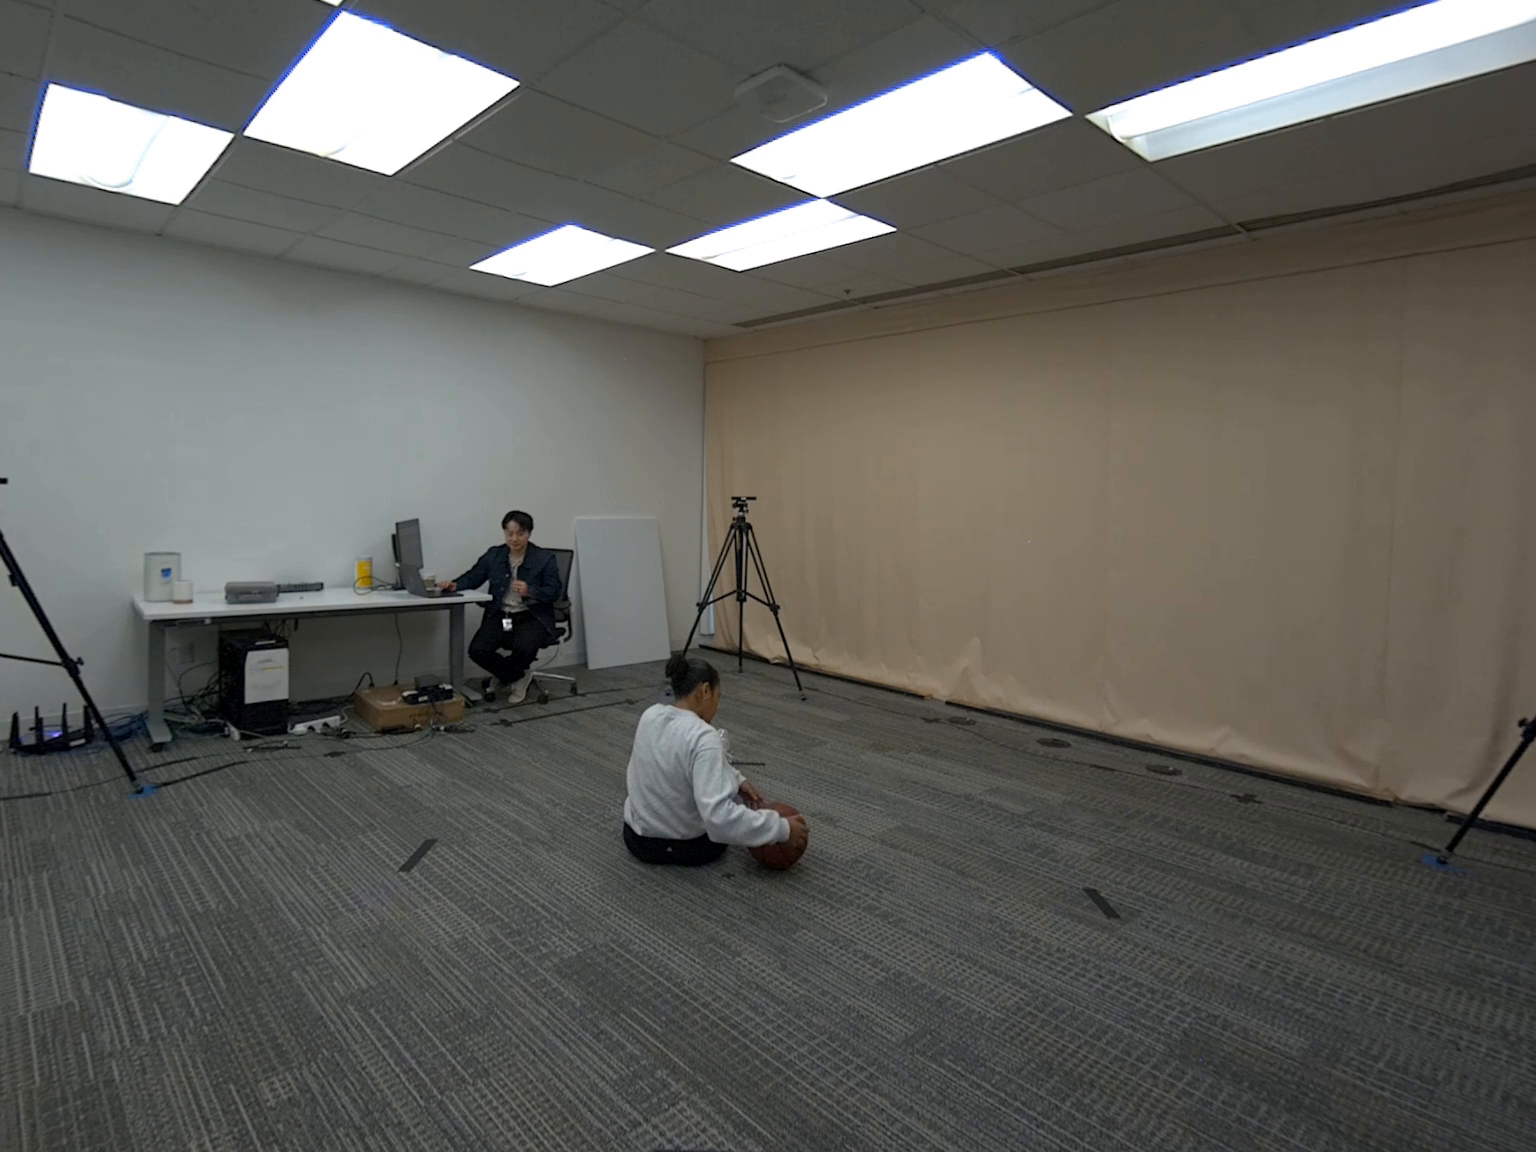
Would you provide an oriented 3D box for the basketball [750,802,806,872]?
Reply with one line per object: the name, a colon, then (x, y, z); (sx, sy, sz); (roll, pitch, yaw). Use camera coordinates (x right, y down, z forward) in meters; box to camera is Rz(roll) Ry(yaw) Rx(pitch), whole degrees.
basketball: (0.027, 0.979, 3.185); (0.236, 0.235, 0.237); (1, 4, -1)
